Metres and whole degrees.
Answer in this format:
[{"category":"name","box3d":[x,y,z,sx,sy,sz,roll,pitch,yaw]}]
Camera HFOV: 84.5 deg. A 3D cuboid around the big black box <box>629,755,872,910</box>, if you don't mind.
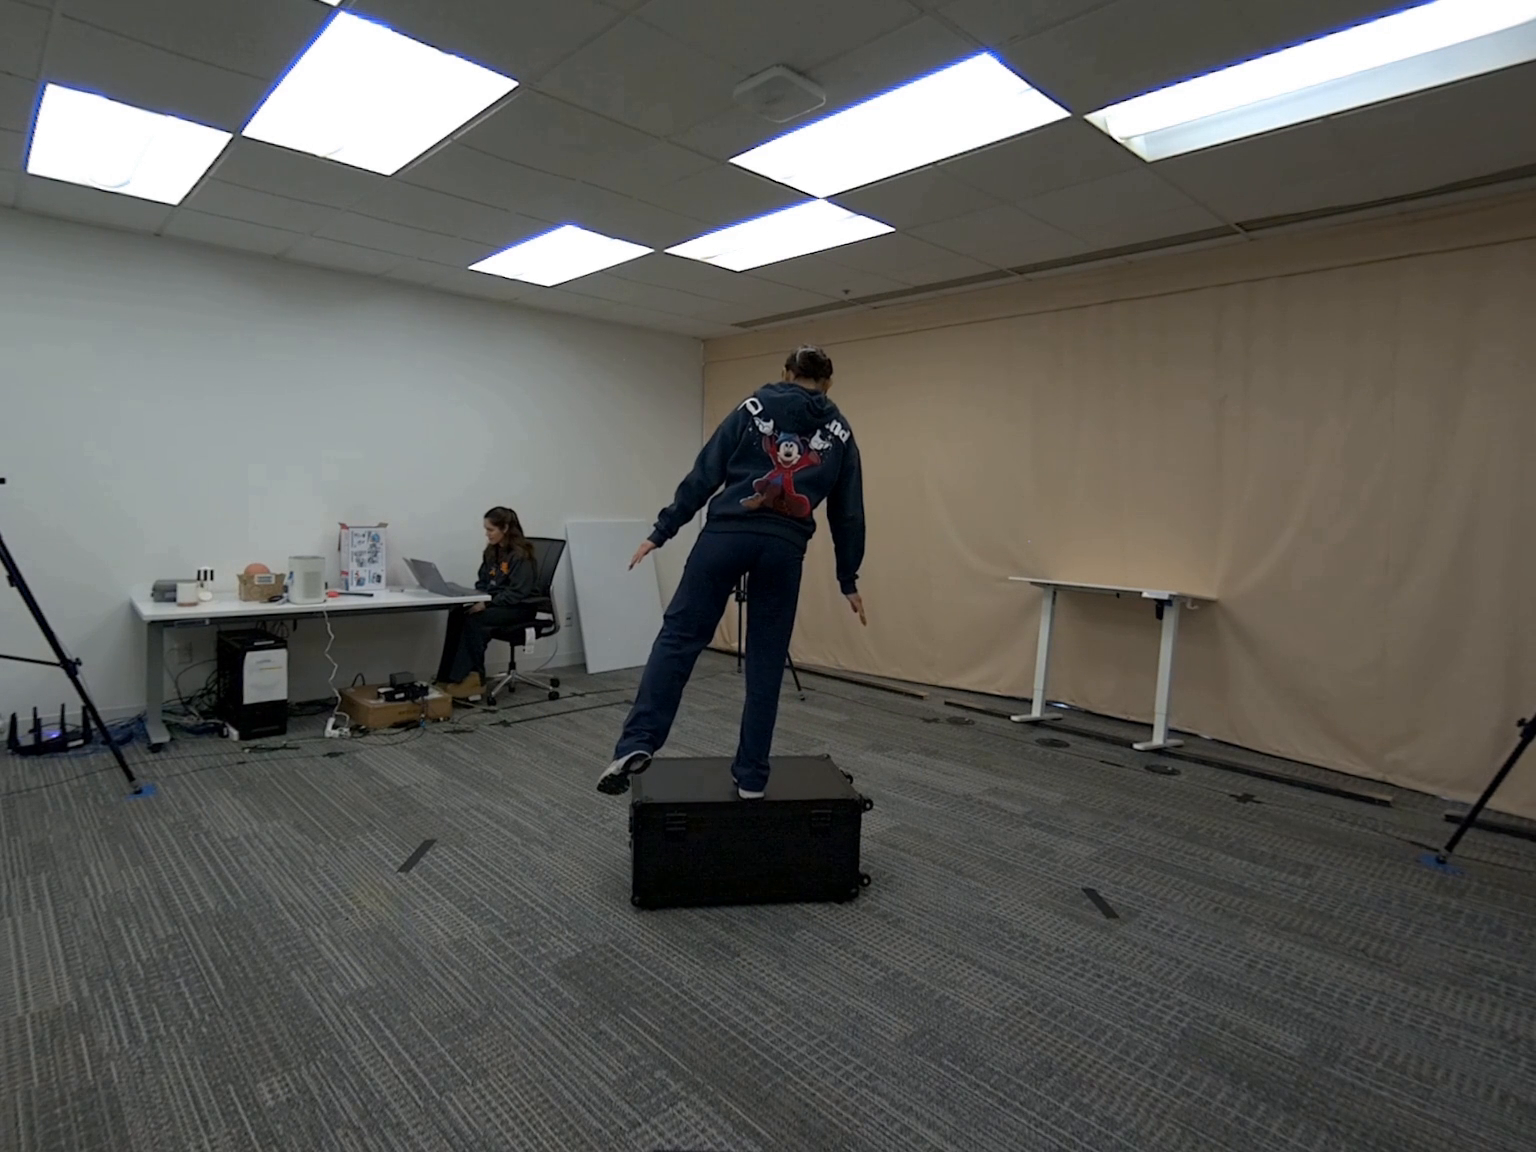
[{"category":"big black box","box3d":[-0.075,0.919,3.089,0.855,0.395,0.526,0,5,-9]}]
